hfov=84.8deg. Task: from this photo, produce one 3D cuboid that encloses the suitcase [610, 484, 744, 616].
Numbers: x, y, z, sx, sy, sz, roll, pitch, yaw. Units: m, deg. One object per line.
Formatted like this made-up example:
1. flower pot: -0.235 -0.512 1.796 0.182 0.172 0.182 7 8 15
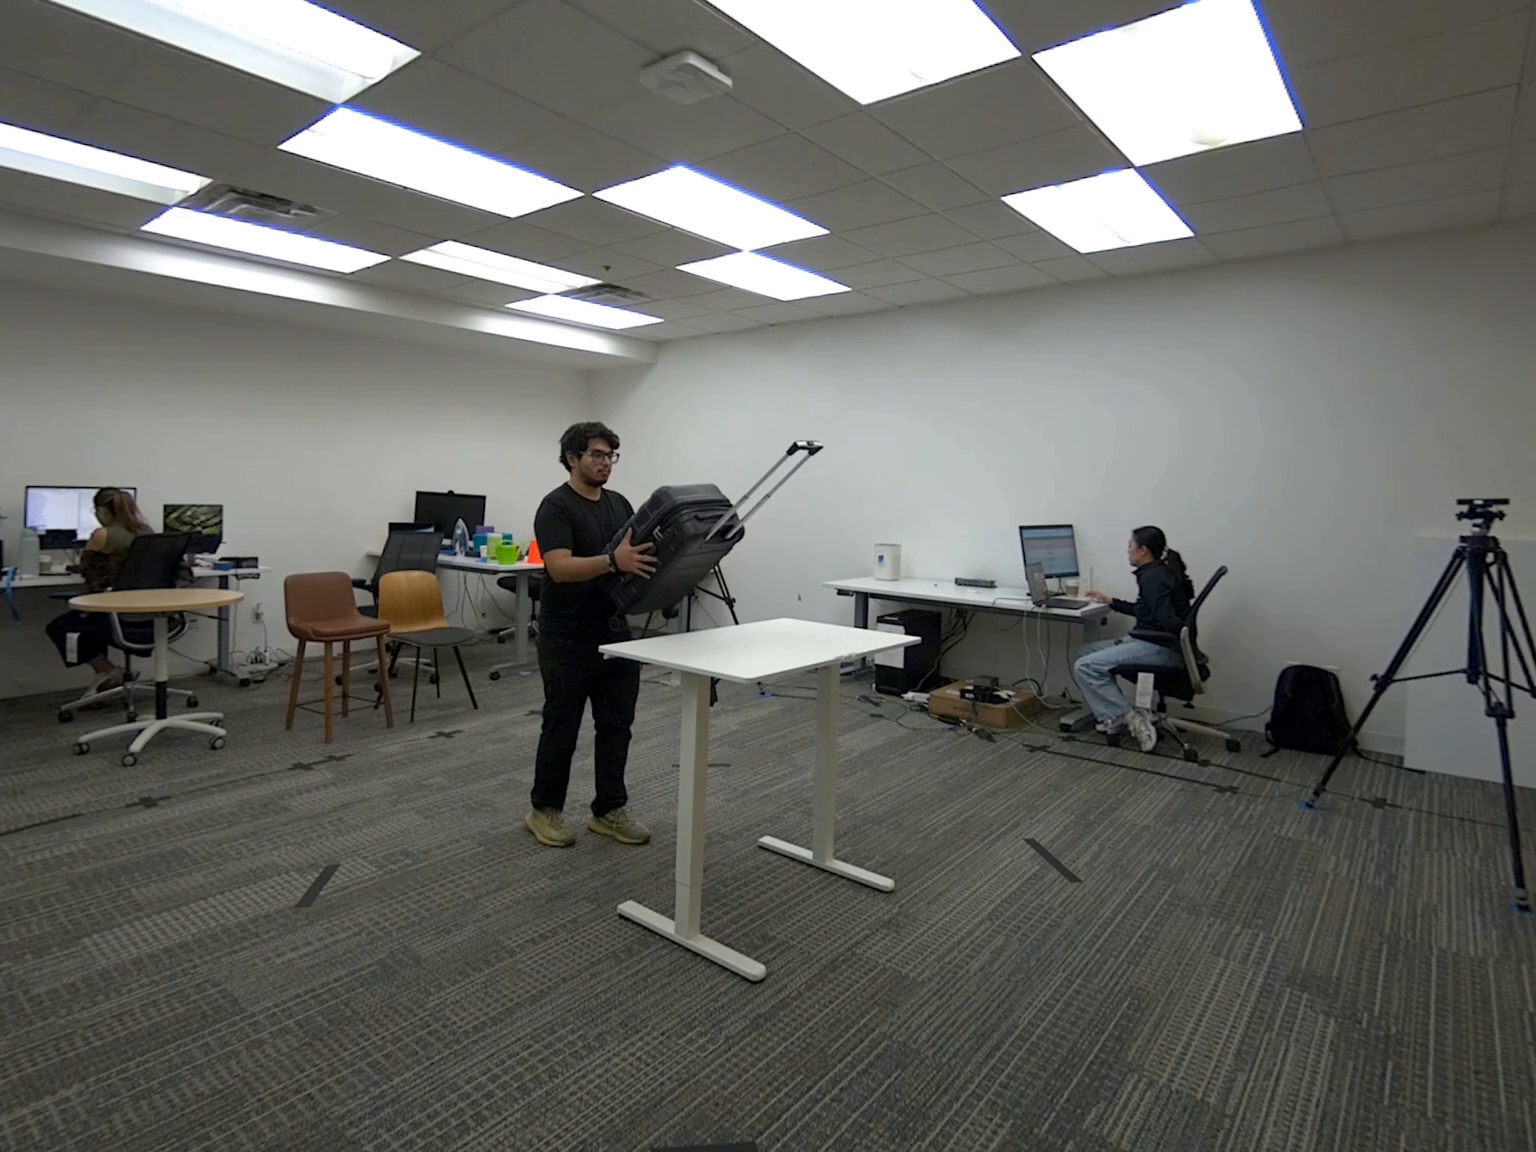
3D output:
1. suitcase: -0.248 -0.217 2.991 0.979 0.264 0.374 -45 -20 30
